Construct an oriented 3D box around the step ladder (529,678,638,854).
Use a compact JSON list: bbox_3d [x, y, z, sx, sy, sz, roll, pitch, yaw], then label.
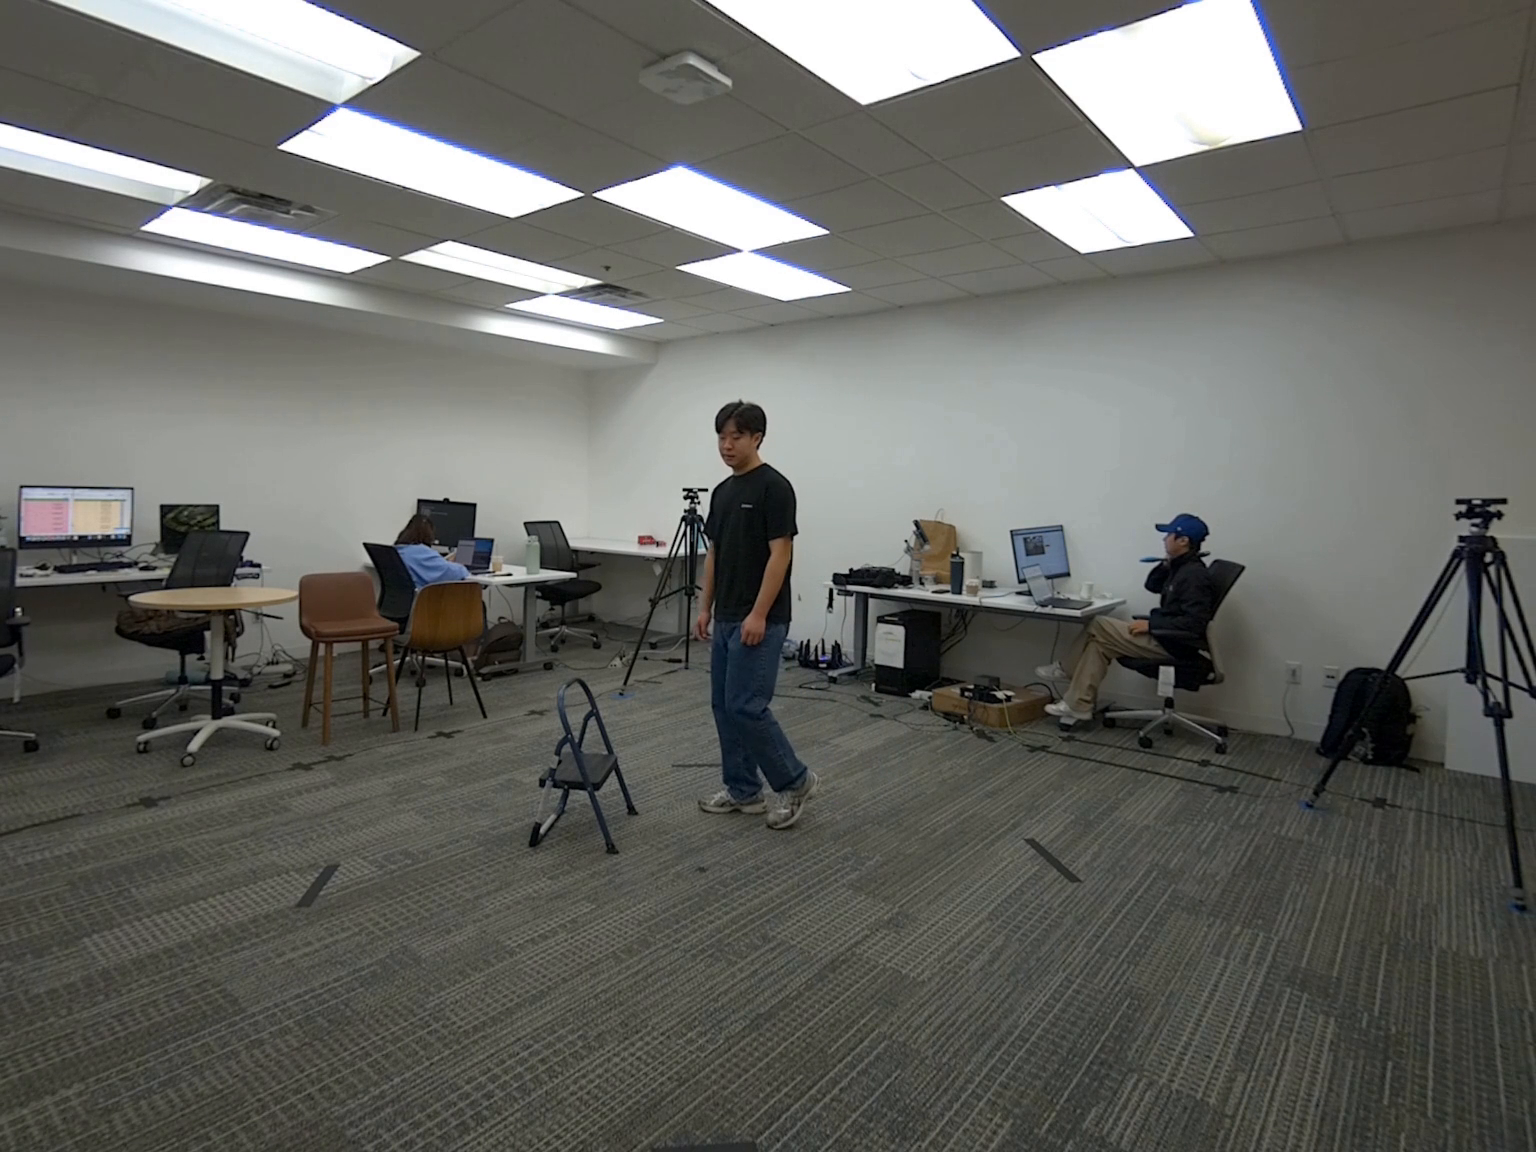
[{"bbox_3d":[-0.741,0.726,3.435,0.351,0.604,0.430,2,3,3],"label":"step ladder"}]
